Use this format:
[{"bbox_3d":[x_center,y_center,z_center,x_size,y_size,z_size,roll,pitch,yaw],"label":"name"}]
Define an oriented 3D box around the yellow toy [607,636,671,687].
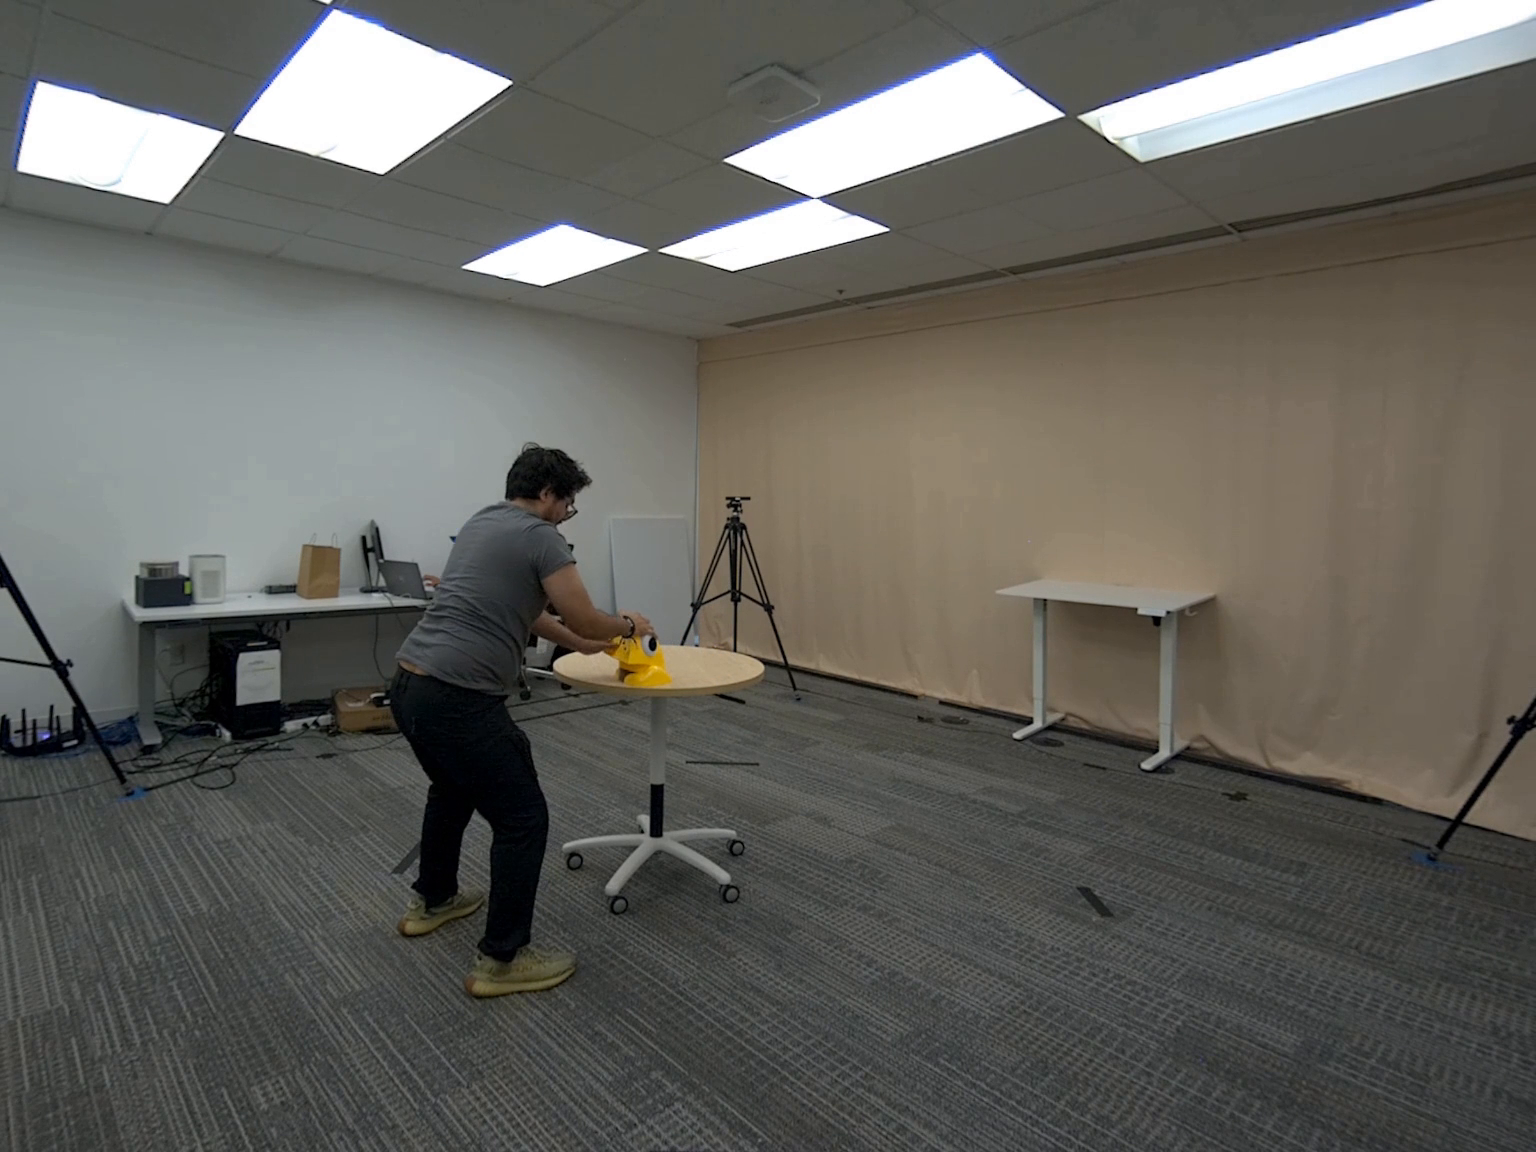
[{"bbox_3d":[-0.435,0.234,2.808,0.189,0.230,0.210,-2,6,-33],"label":"yellow toy"}]
